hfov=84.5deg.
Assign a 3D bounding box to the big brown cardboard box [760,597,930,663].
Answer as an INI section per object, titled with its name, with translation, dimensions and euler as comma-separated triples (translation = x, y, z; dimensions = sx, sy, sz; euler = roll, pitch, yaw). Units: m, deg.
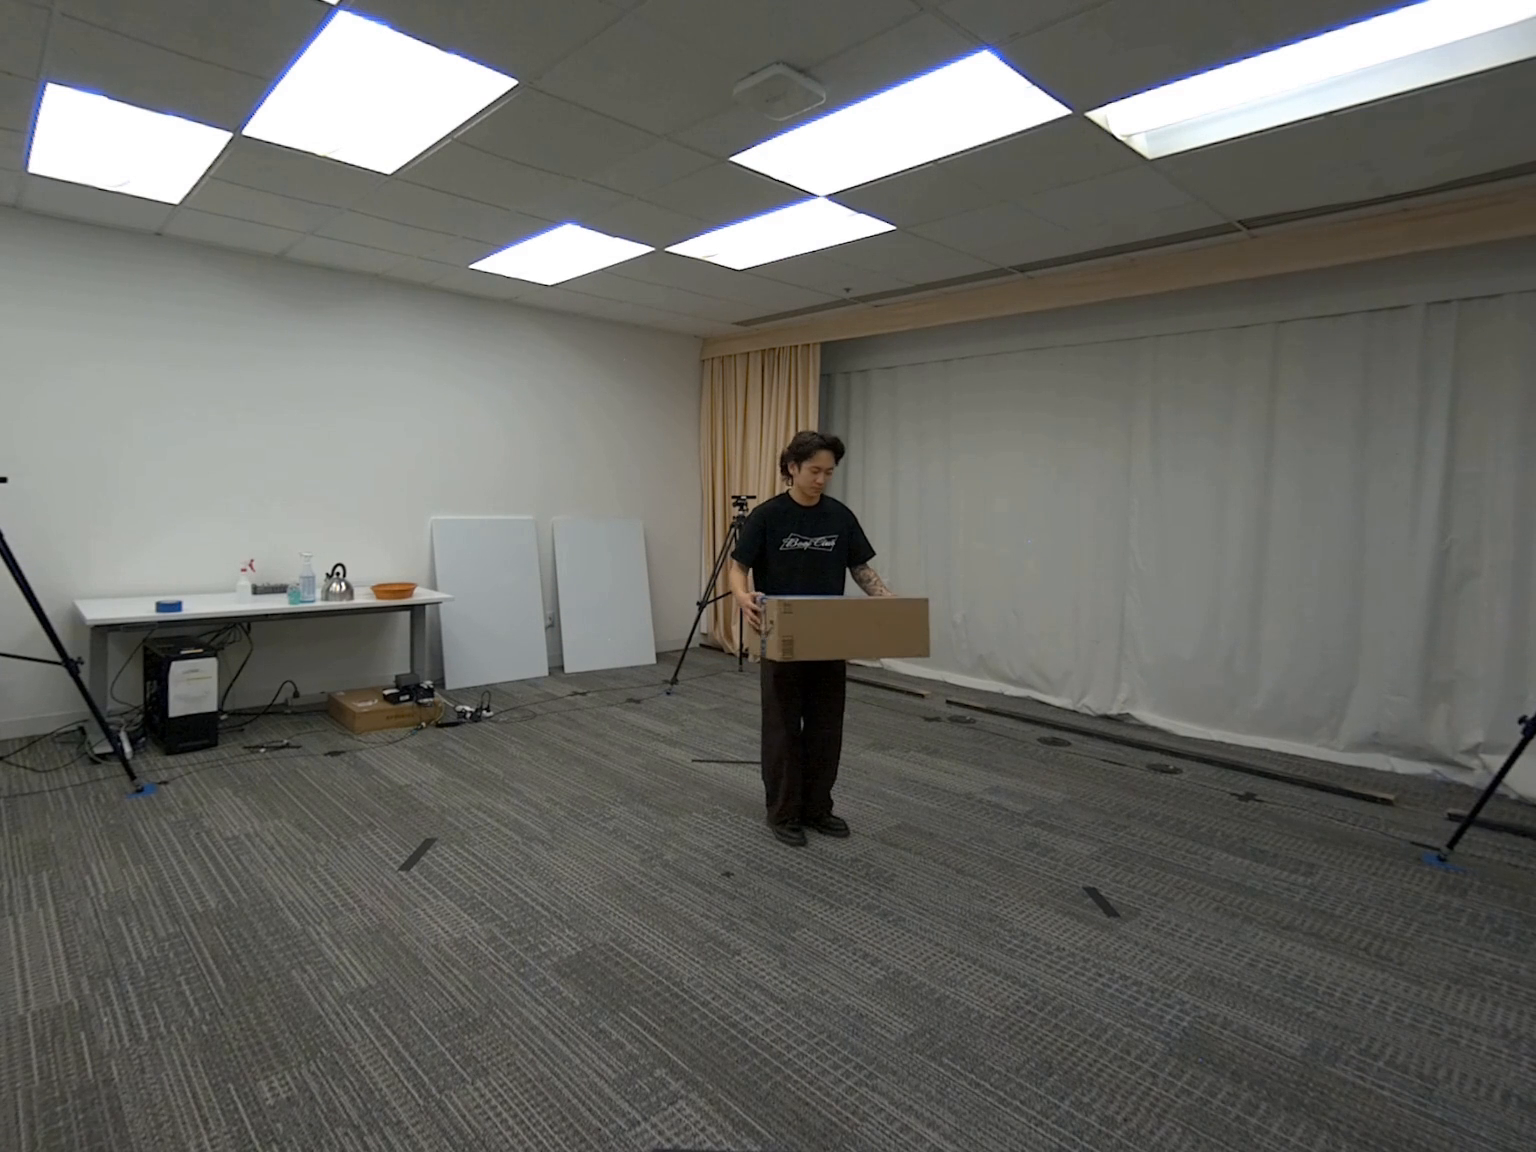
[big brown cardboard box]
translation = 0.243, 0.186, 3.135
dimensions = 0.582, 0.234, 0.422
euler = 0, -2, -16
